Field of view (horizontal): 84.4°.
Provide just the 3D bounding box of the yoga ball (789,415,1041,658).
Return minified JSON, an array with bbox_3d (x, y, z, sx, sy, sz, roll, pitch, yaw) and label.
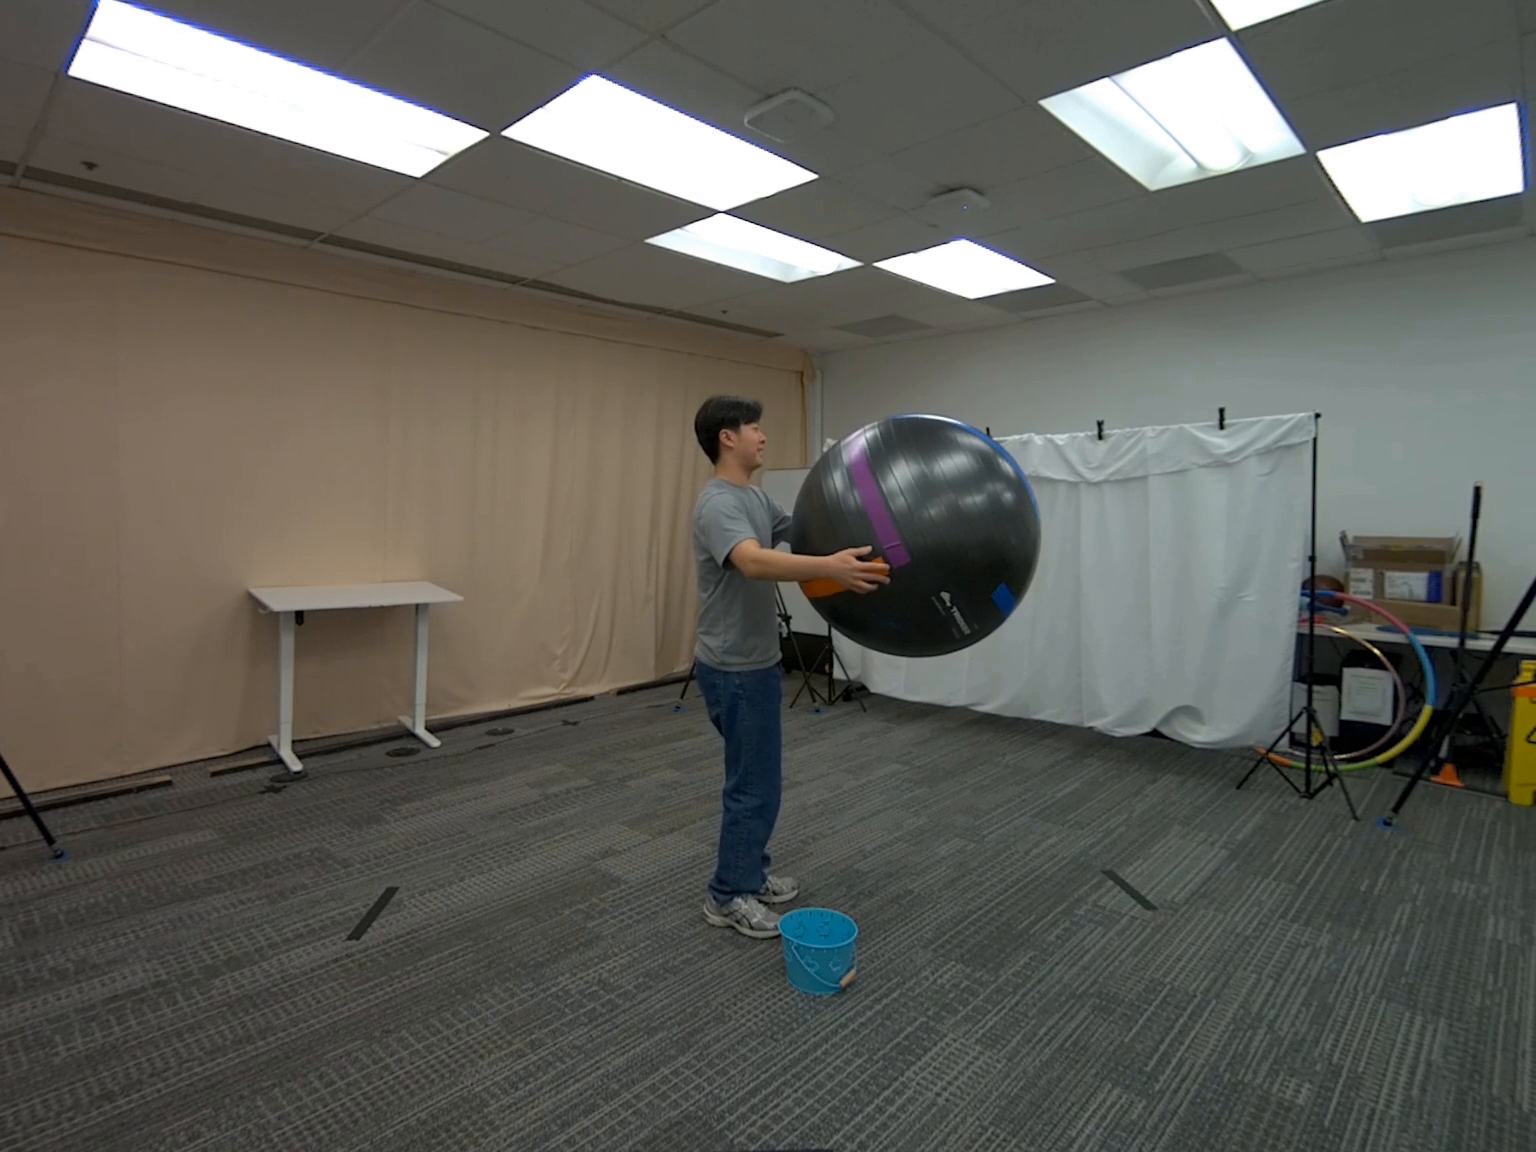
[{"bbox_3d":[0.465,-0.112,2.630,0.757,0.756,0.761,0,4,-2],"label":"yoga ball"}]
